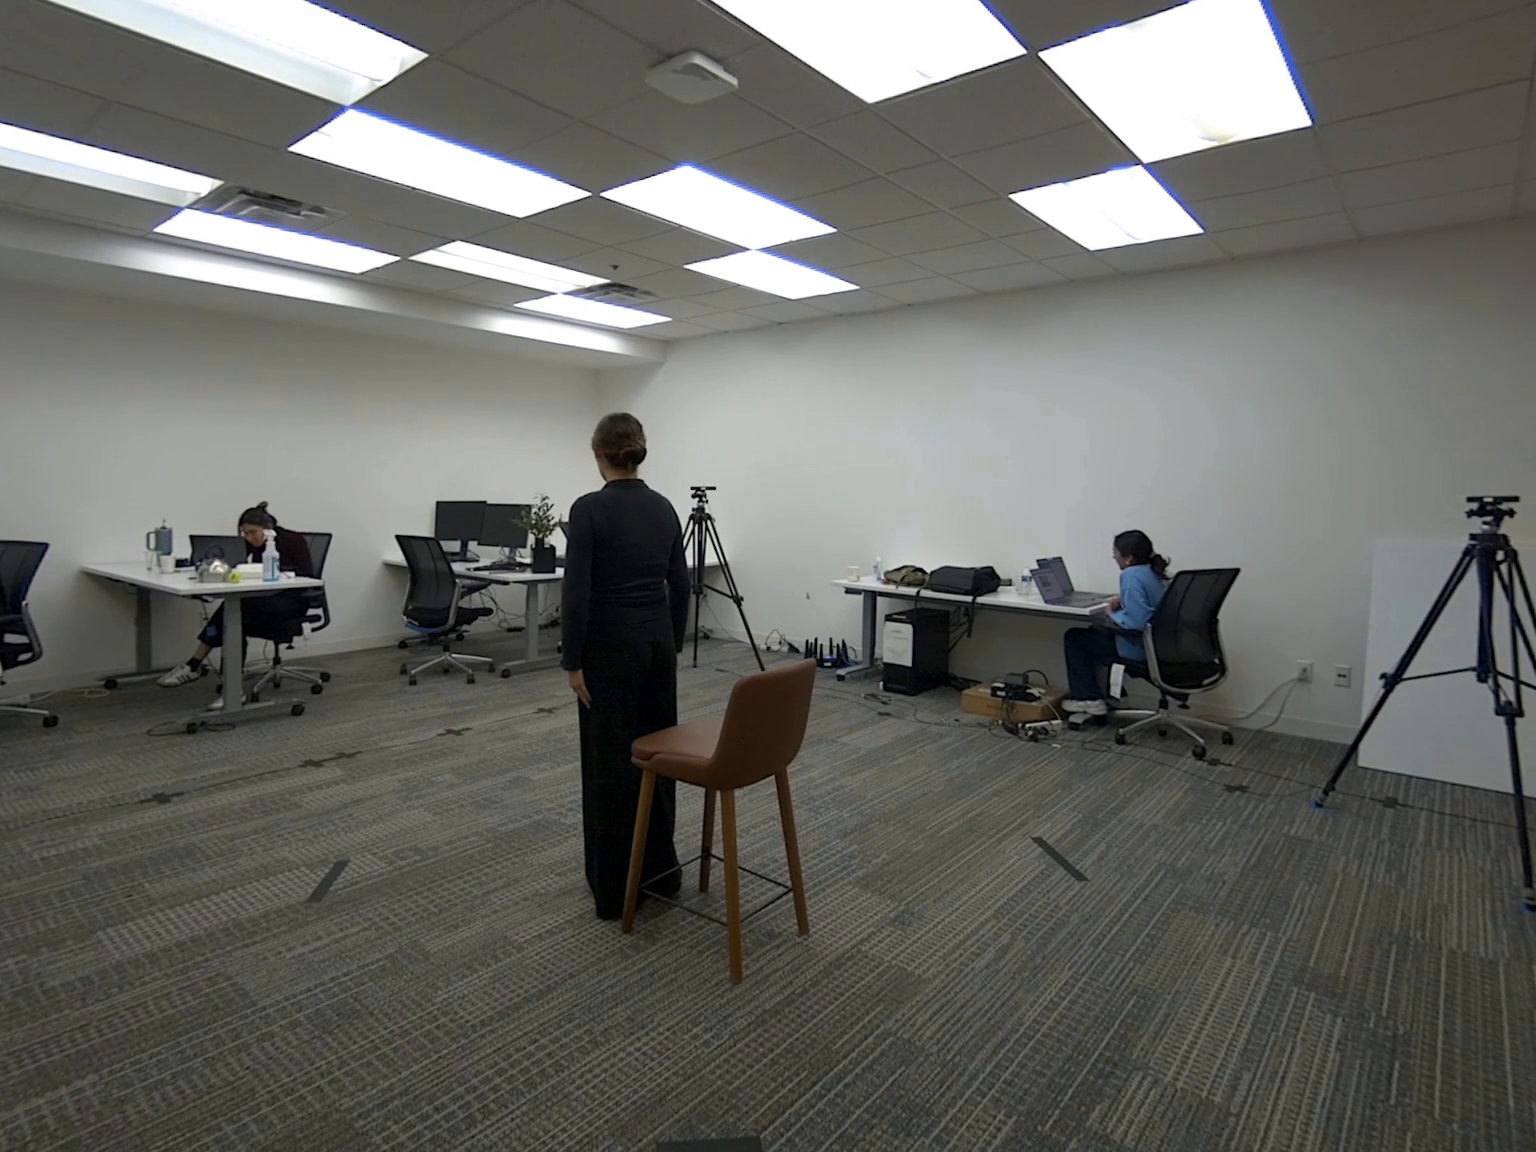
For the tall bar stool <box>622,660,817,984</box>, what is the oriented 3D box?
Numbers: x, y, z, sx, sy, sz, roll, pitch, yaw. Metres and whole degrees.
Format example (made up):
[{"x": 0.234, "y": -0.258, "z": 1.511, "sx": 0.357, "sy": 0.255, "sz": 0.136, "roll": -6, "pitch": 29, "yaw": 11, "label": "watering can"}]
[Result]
[{"x": -0.149, "y": 0.679, "z": 2.629, "sx": 0.483, "sy": 0.886, "sz": 0.443, "roll": 6, "pitch": 6, "yaw": 38, "label": "tall bar stool"}]
